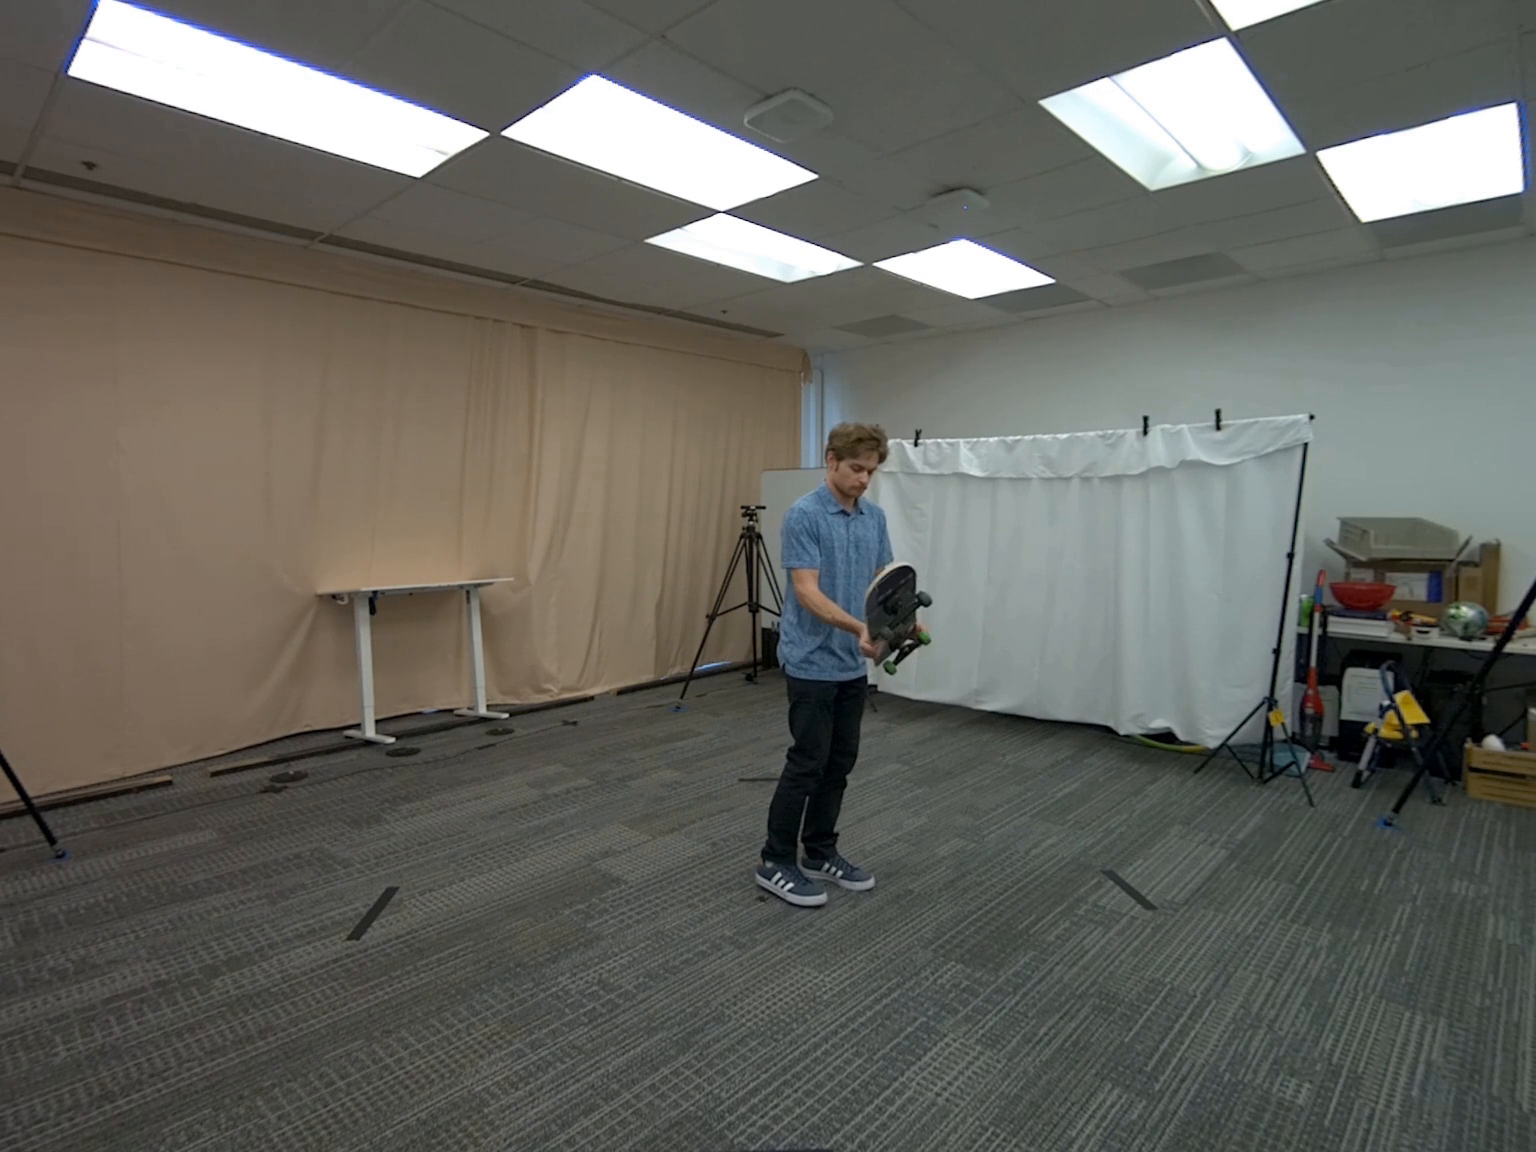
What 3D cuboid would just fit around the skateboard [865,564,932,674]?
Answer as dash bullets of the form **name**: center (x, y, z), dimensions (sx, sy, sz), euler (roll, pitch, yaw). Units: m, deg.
- **skateboard**: center (0.406, 0.169, 2.661), dimensions (0.193, 0.113, 0.767), euler (-40, -22, -8)
